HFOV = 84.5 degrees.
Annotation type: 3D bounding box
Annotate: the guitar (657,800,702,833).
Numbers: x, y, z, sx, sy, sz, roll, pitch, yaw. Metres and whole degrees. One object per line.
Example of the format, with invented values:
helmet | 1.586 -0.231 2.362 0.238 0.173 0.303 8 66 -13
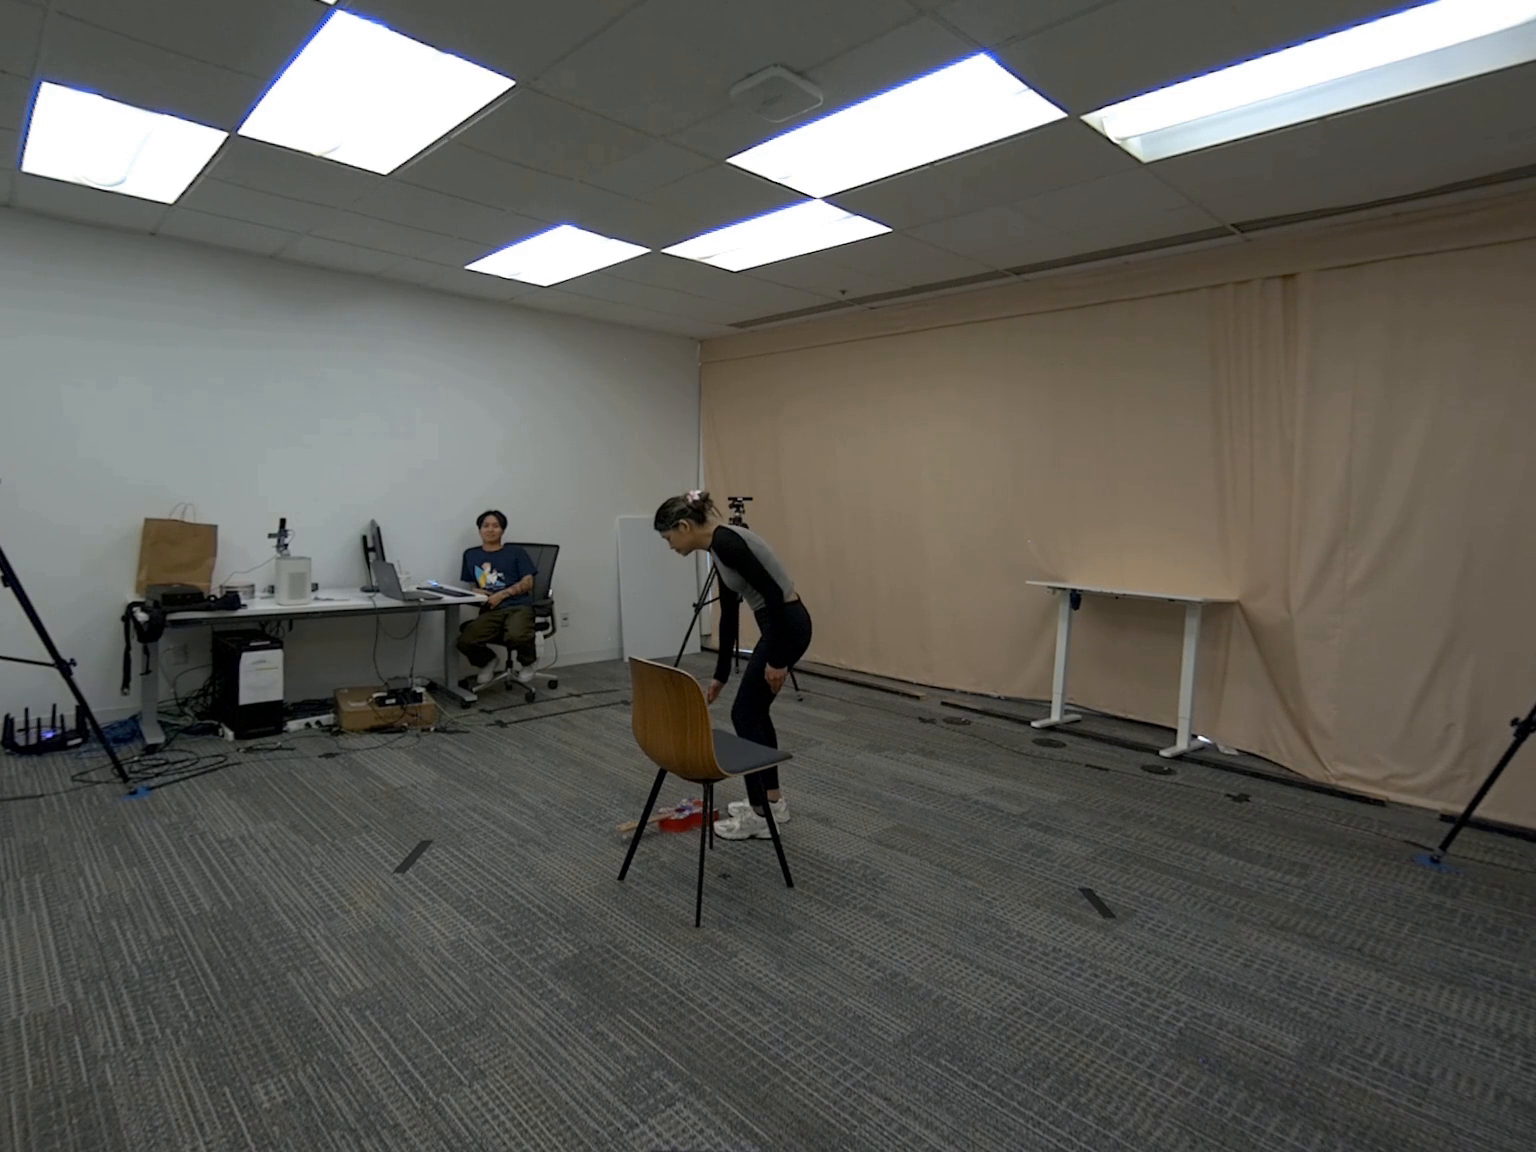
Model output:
guitar | -0.446 1.024 3.561 0.487 0.070 0.198 -2 6 -36
